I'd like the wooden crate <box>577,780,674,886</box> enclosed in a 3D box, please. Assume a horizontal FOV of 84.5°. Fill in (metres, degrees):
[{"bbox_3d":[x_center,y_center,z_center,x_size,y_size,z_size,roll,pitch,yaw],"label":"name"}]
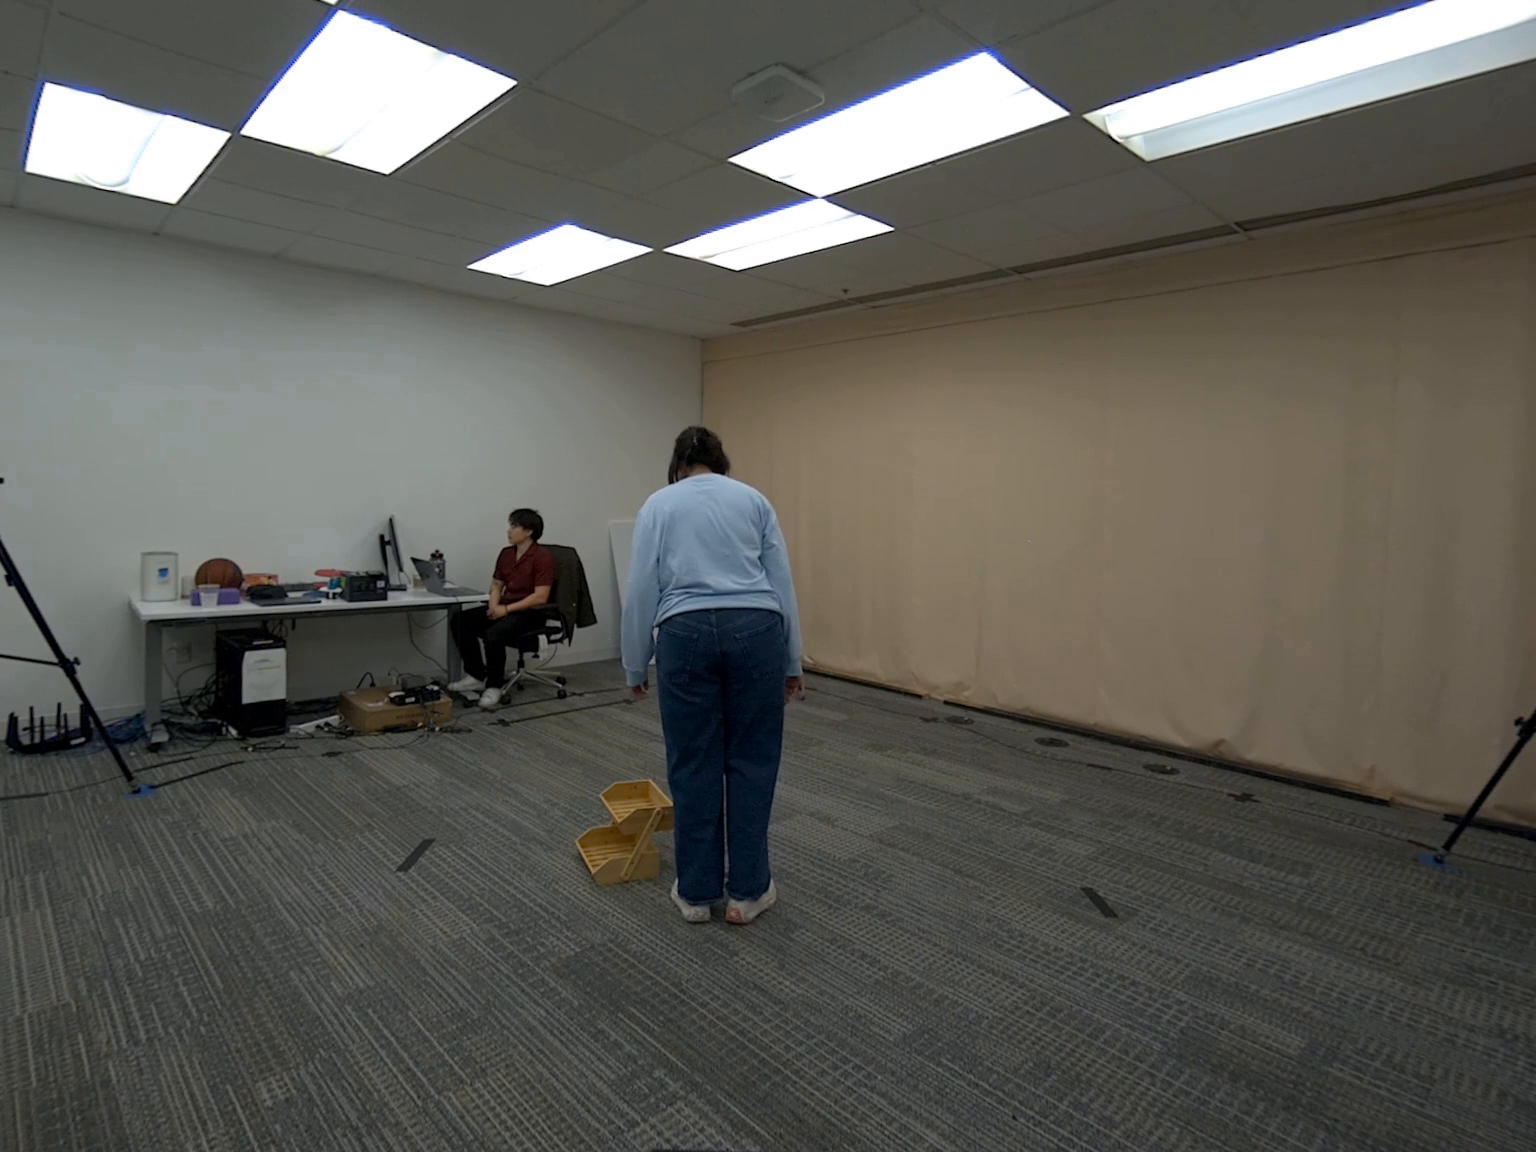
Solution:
[{"bbox_3d":[-0.559,0.955,3.176,0.297,0.272,0.331,0,5,-24],"label":"wooden crate"}]
